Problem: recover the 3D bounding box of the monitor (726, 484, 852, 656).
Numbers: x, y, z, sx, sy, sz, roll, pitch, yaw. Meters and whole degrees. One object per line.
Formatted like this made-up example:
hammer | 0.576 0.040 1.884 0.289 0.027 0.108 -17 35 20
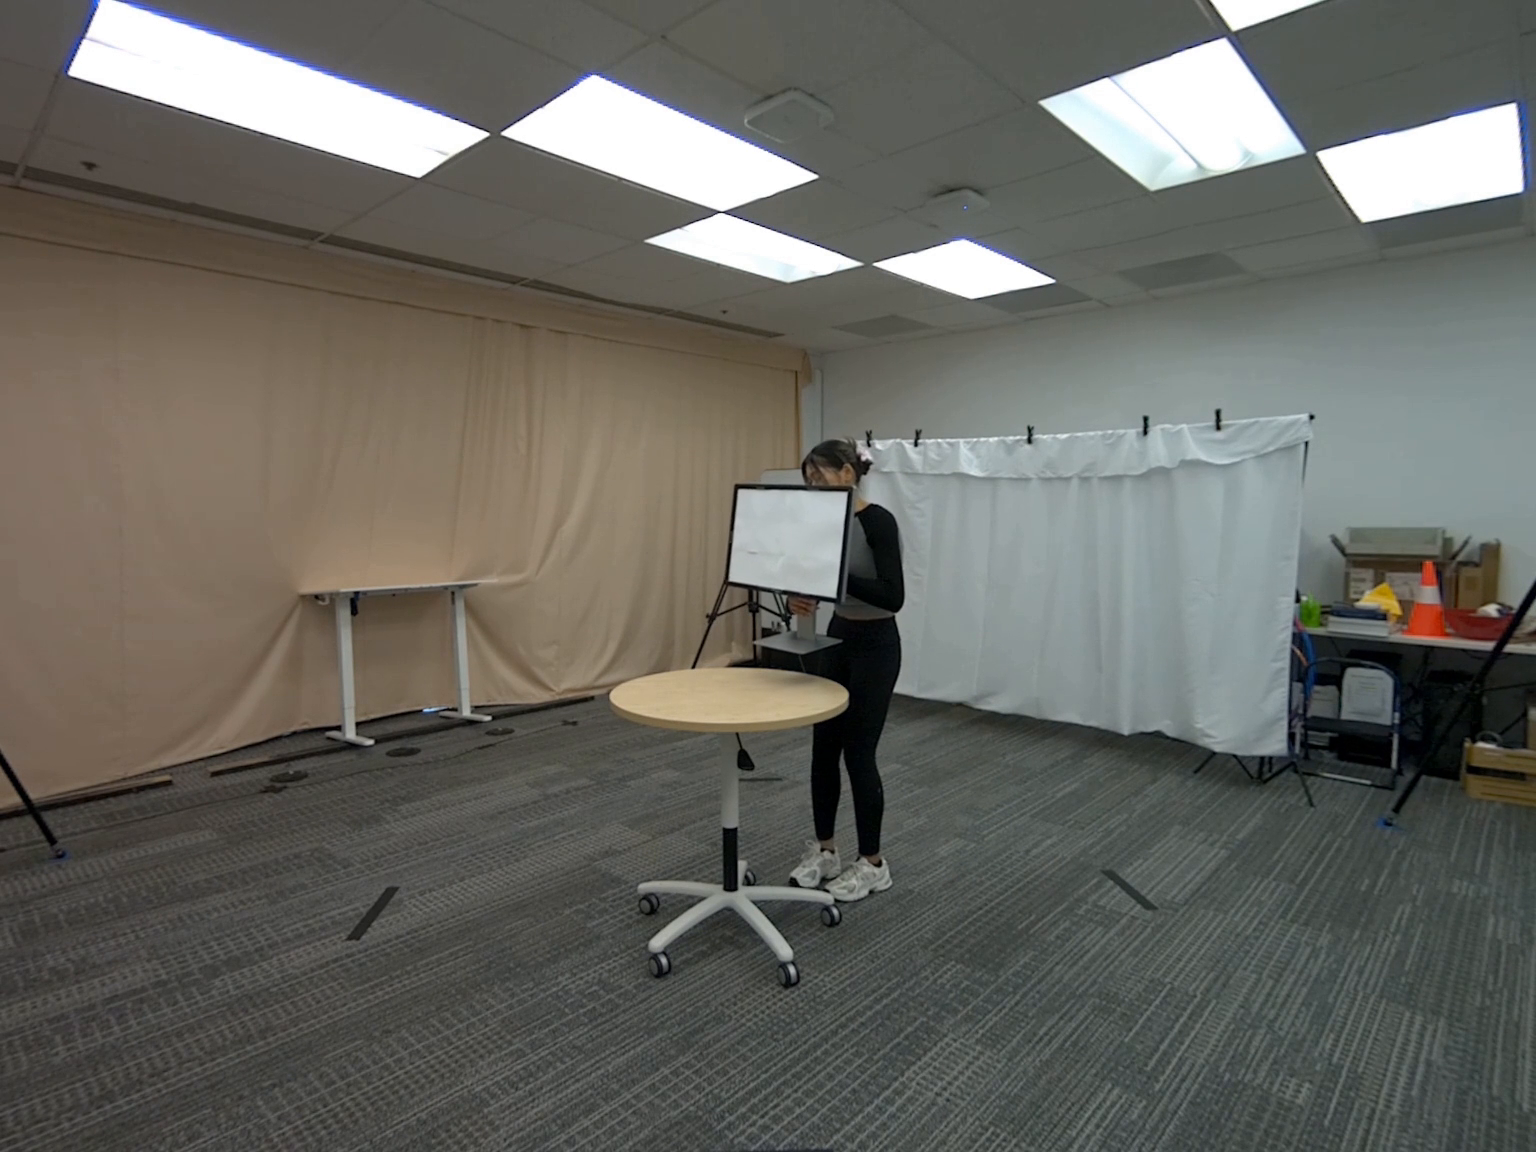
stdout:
monitor | 0.093 -0.033 2.821 0.182 0.519 0.557 -11 11 -41
